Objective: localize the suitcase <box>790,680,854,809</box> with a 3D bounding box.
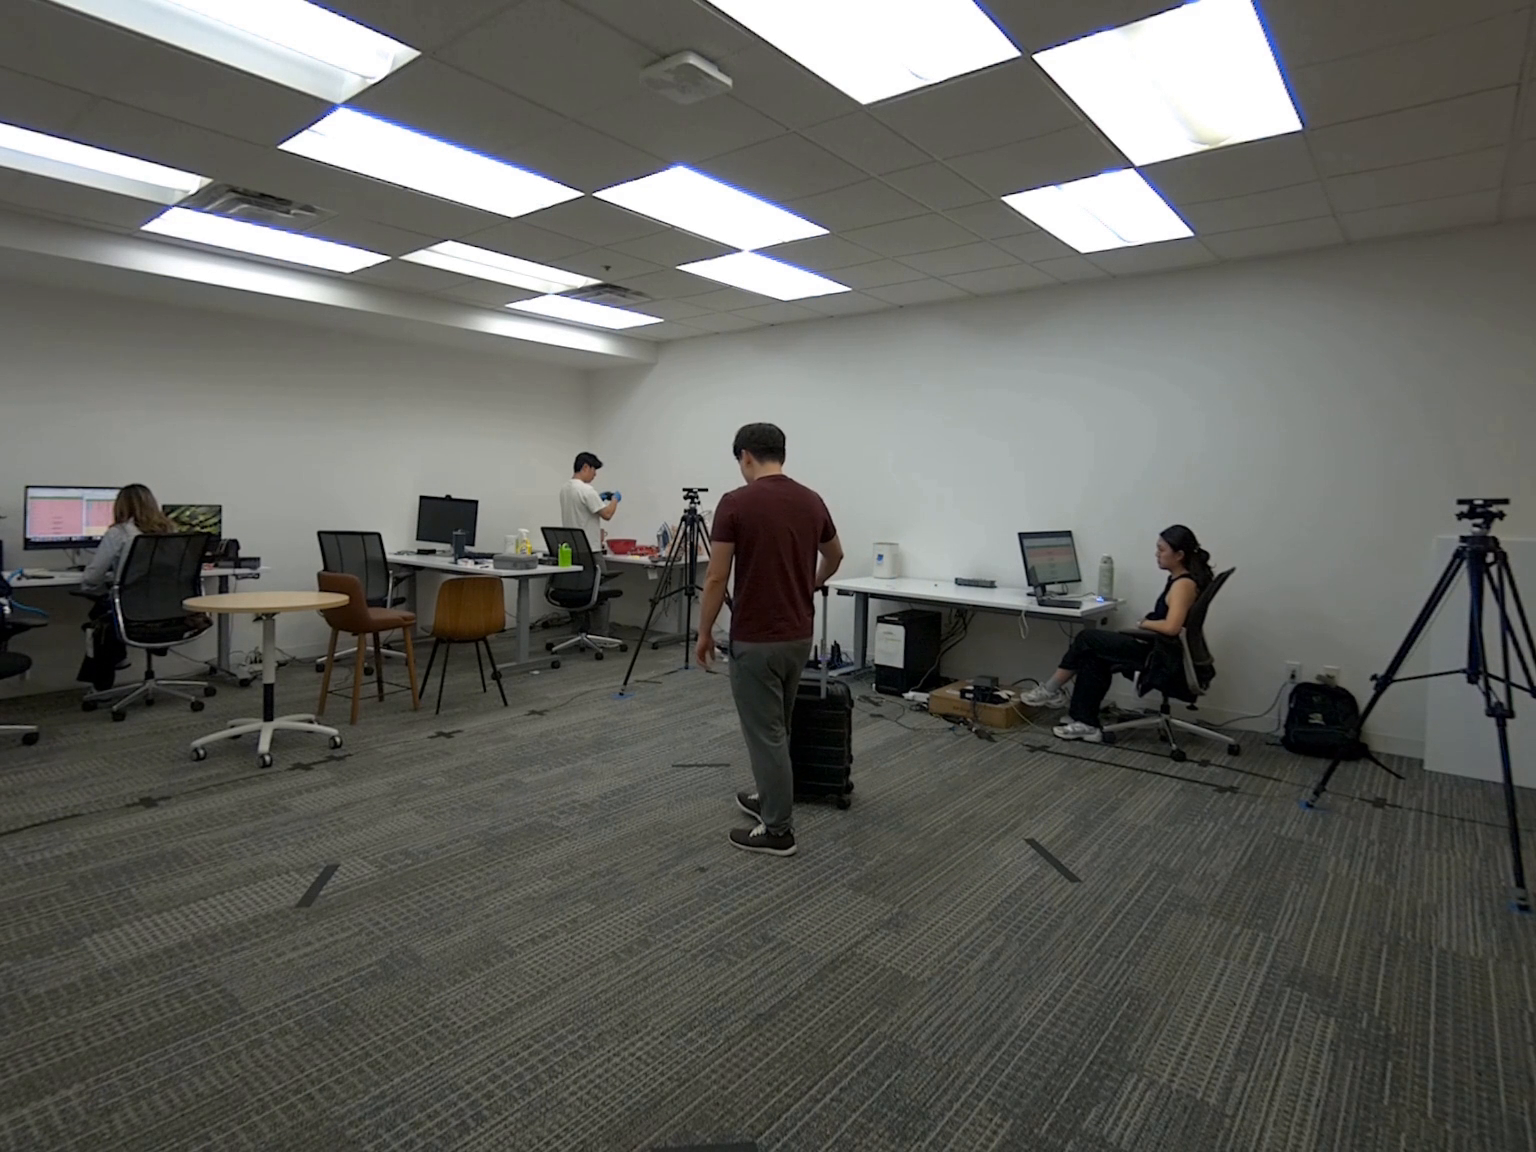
[{"bbox_3d":[0.191,0.524,3.873,0.388,0.977,0.255,0,1,9],"label":"suitcase"}]
